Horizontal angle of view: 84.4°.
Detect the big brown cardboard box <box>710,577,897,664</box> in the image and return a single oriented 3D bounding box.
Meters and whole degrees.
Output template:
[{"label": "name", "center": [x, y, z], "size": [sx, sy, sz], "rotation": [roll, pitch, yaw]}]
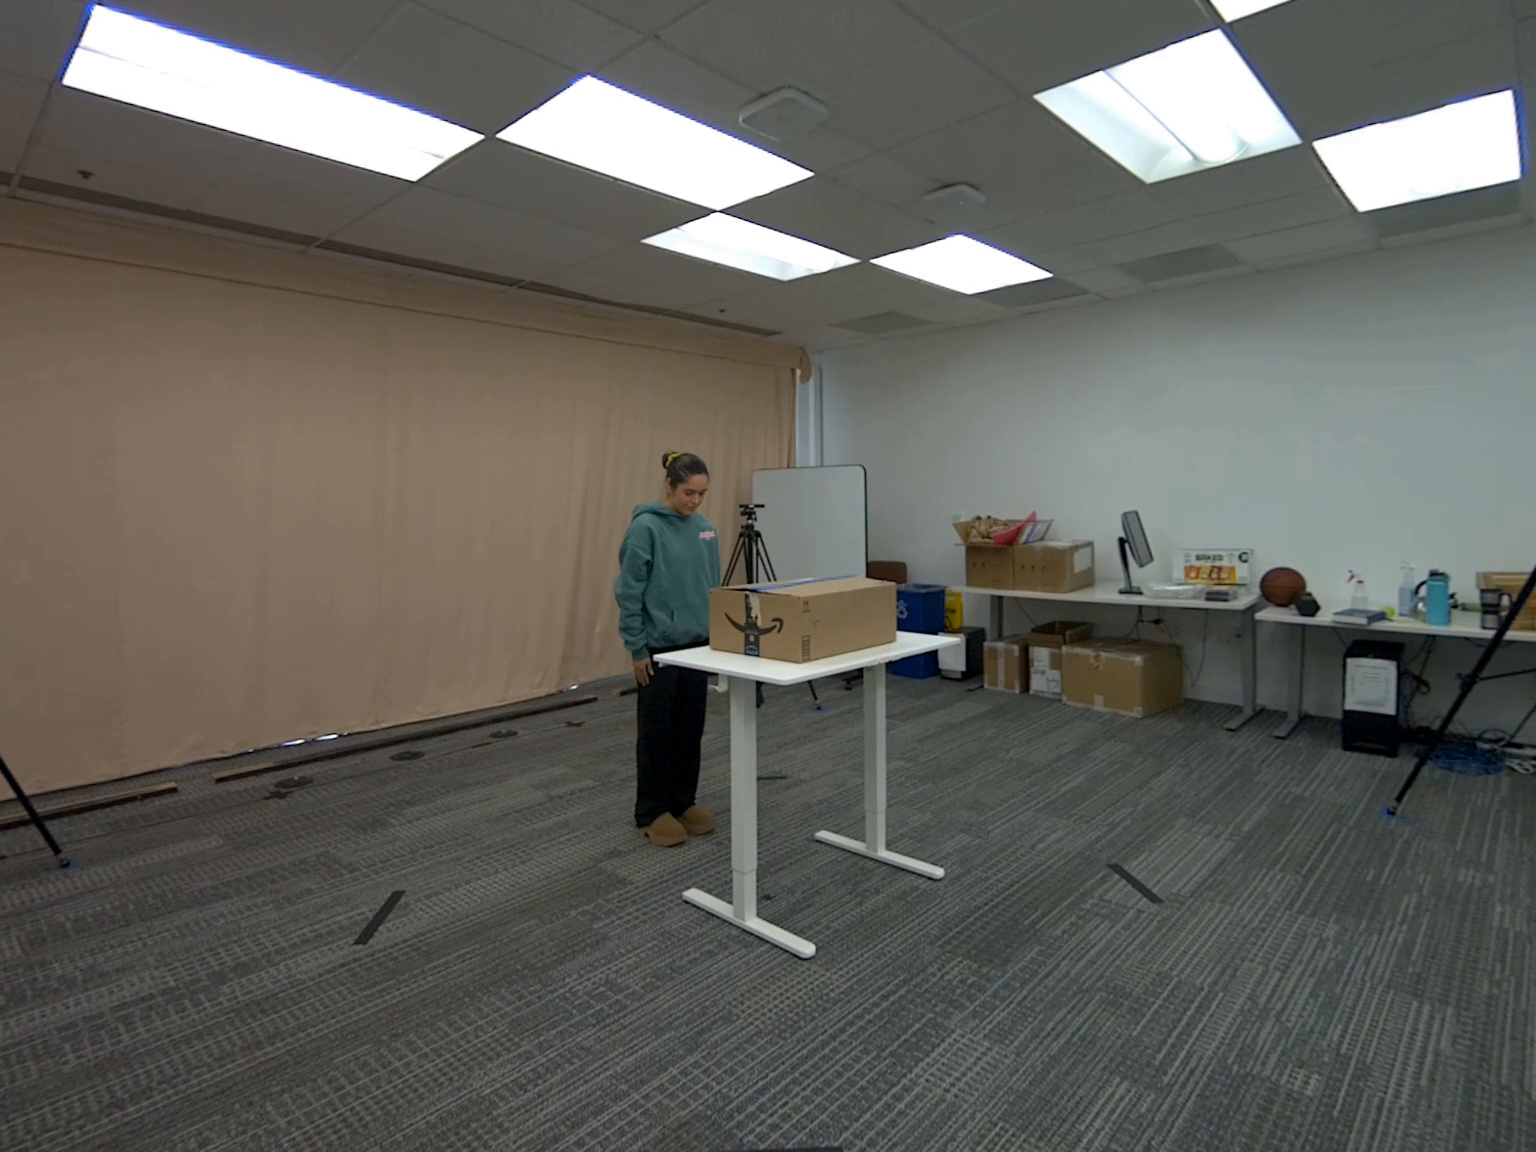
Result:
[{"label": "big brown cardboard box", "center": [0.138, 0.144, 3.025], "size": [0.431, 0.232, 0.571], "rotation": [4, 7, 42]}]
